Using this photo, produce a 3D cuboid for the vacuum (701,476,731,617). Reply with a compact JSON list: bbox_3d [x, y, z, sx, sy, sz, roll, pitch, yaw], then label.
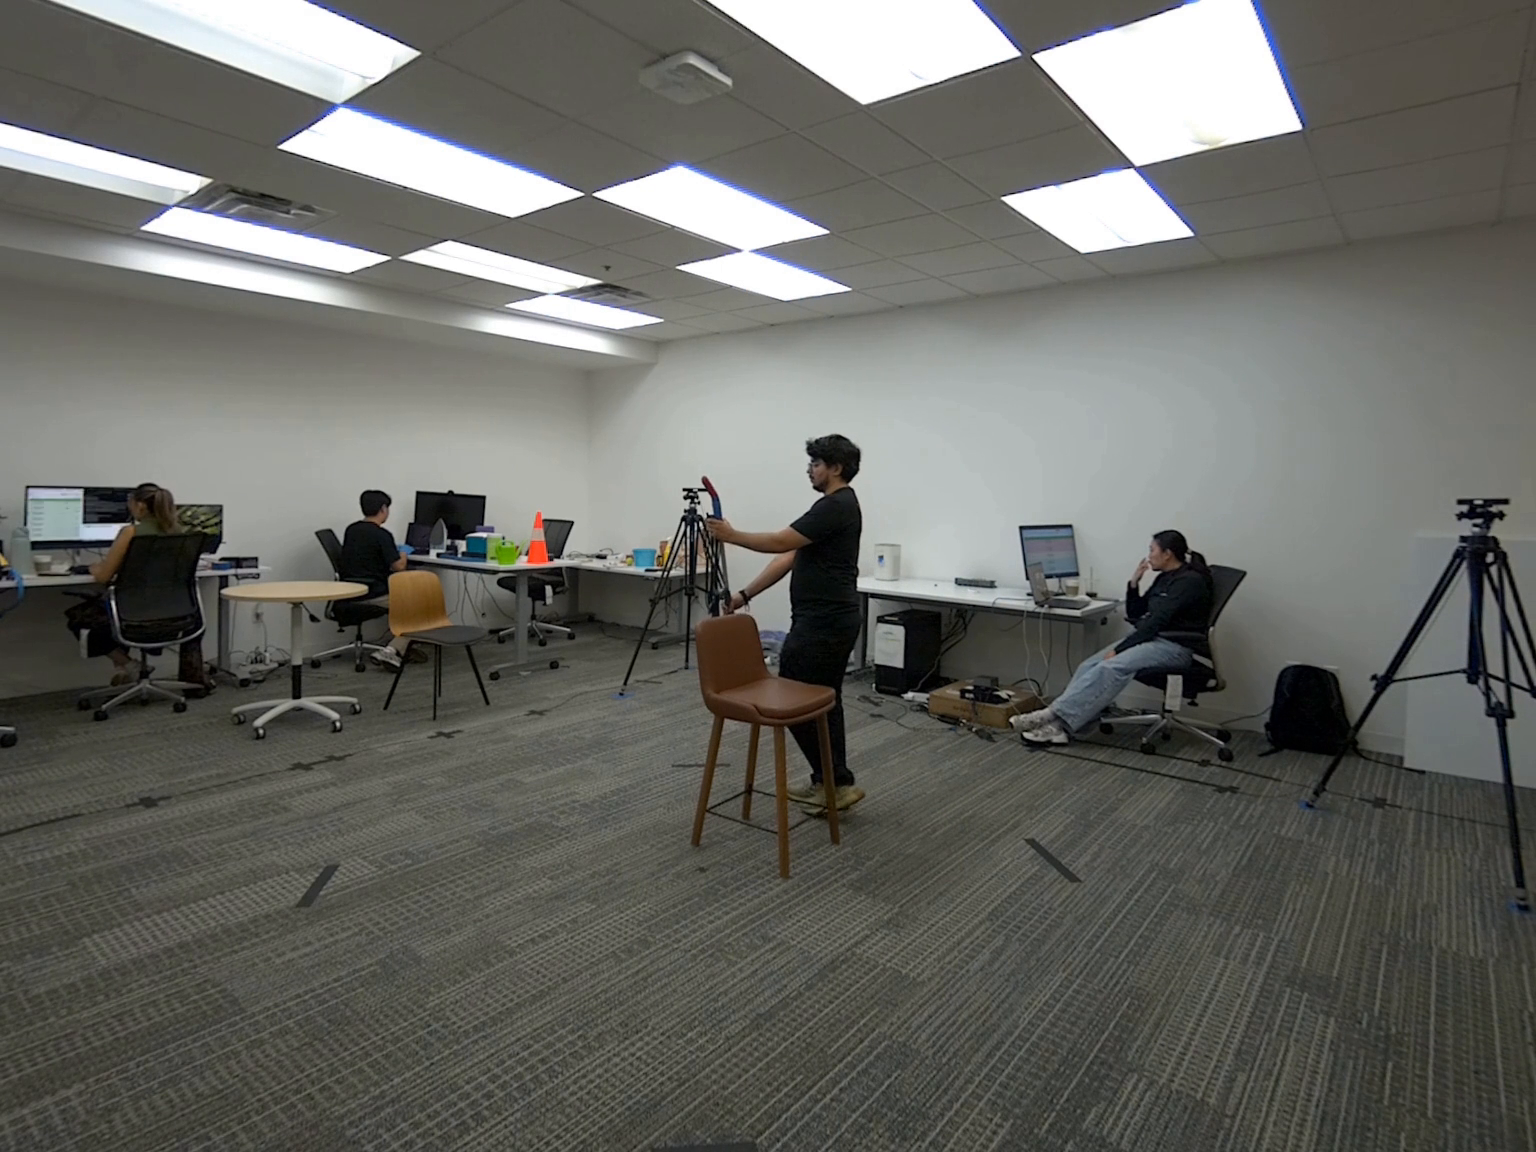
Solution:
[{"bbox_3d":[-0.241,0.061,3.847,0.142,1.033,0.259,-10,14,-12],"label":"vacuum"}]
